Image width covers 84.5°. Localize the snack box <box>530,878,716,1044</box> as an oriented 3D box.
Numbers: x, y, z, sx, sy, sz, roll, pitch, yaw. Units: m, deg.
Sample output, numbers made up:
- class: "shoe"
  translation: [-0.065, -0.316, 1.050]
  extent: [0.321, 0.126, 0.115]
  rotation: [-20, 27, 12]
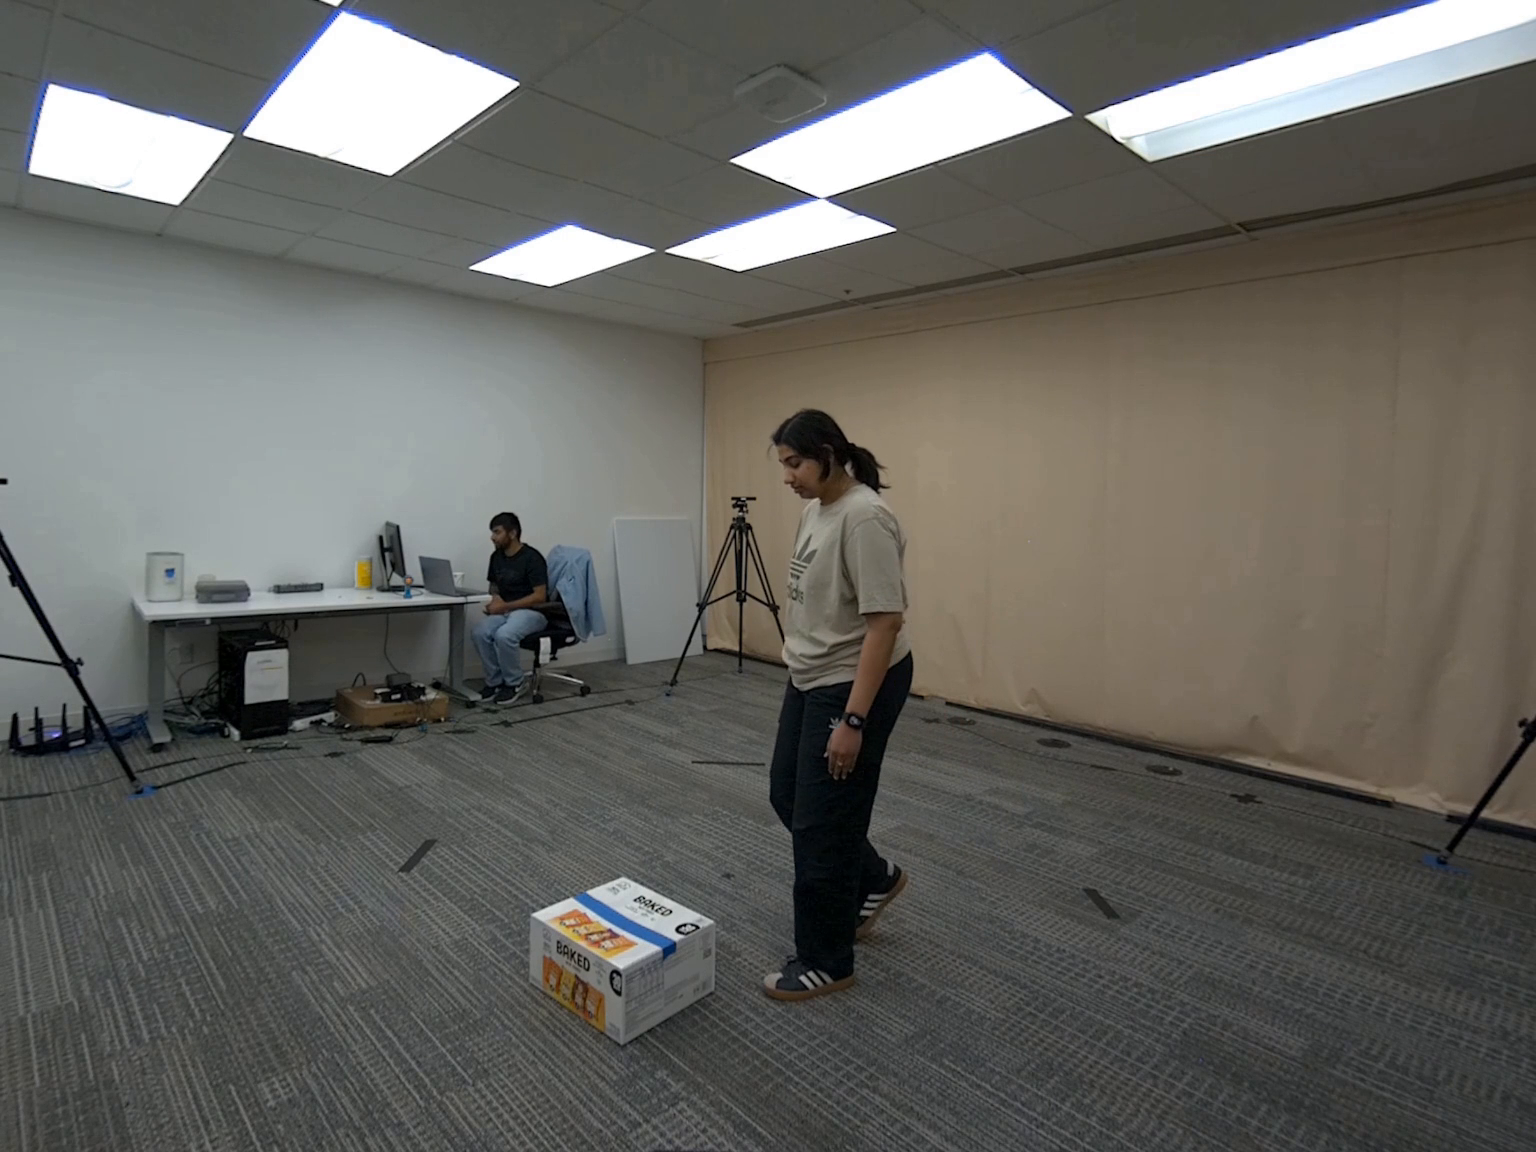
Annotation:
- class: "snack box"
  translation: [-0.416, 1.067, 2.370]
  extent: [0.415, 0.205, 0.333]
  rotation: [5, 6, 41]
